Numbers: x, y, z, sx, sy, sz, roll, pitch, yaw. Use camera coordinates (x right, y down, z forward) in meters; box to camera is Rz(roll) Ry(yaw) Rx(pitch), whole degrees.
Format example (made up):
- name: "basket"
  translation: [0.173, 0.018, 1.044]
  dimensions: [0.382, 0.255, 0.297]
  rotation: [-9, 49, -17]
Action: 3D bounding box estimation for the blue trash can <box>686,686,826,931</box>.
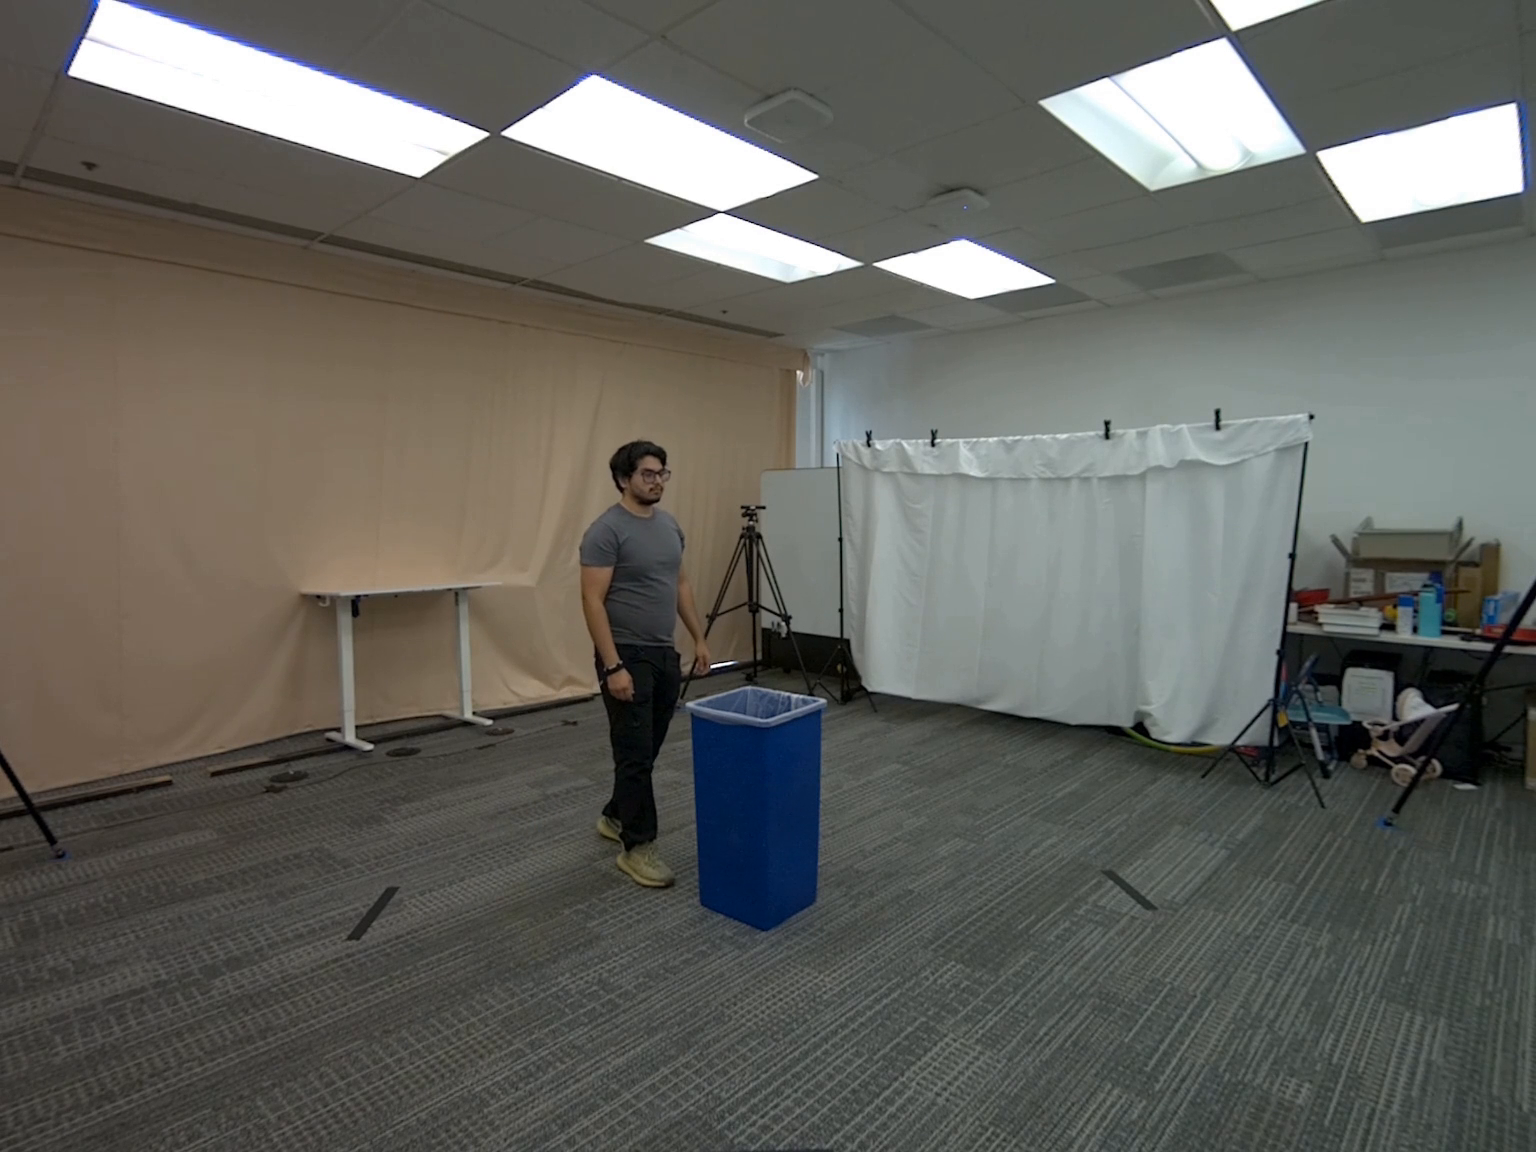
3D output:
- name: "blue trash can"
  translation: [-0.033, 0.790, 2.927]
  dimensions: [0.390, 0.712, 0.363]
  rotation: [2, 4, 39]
